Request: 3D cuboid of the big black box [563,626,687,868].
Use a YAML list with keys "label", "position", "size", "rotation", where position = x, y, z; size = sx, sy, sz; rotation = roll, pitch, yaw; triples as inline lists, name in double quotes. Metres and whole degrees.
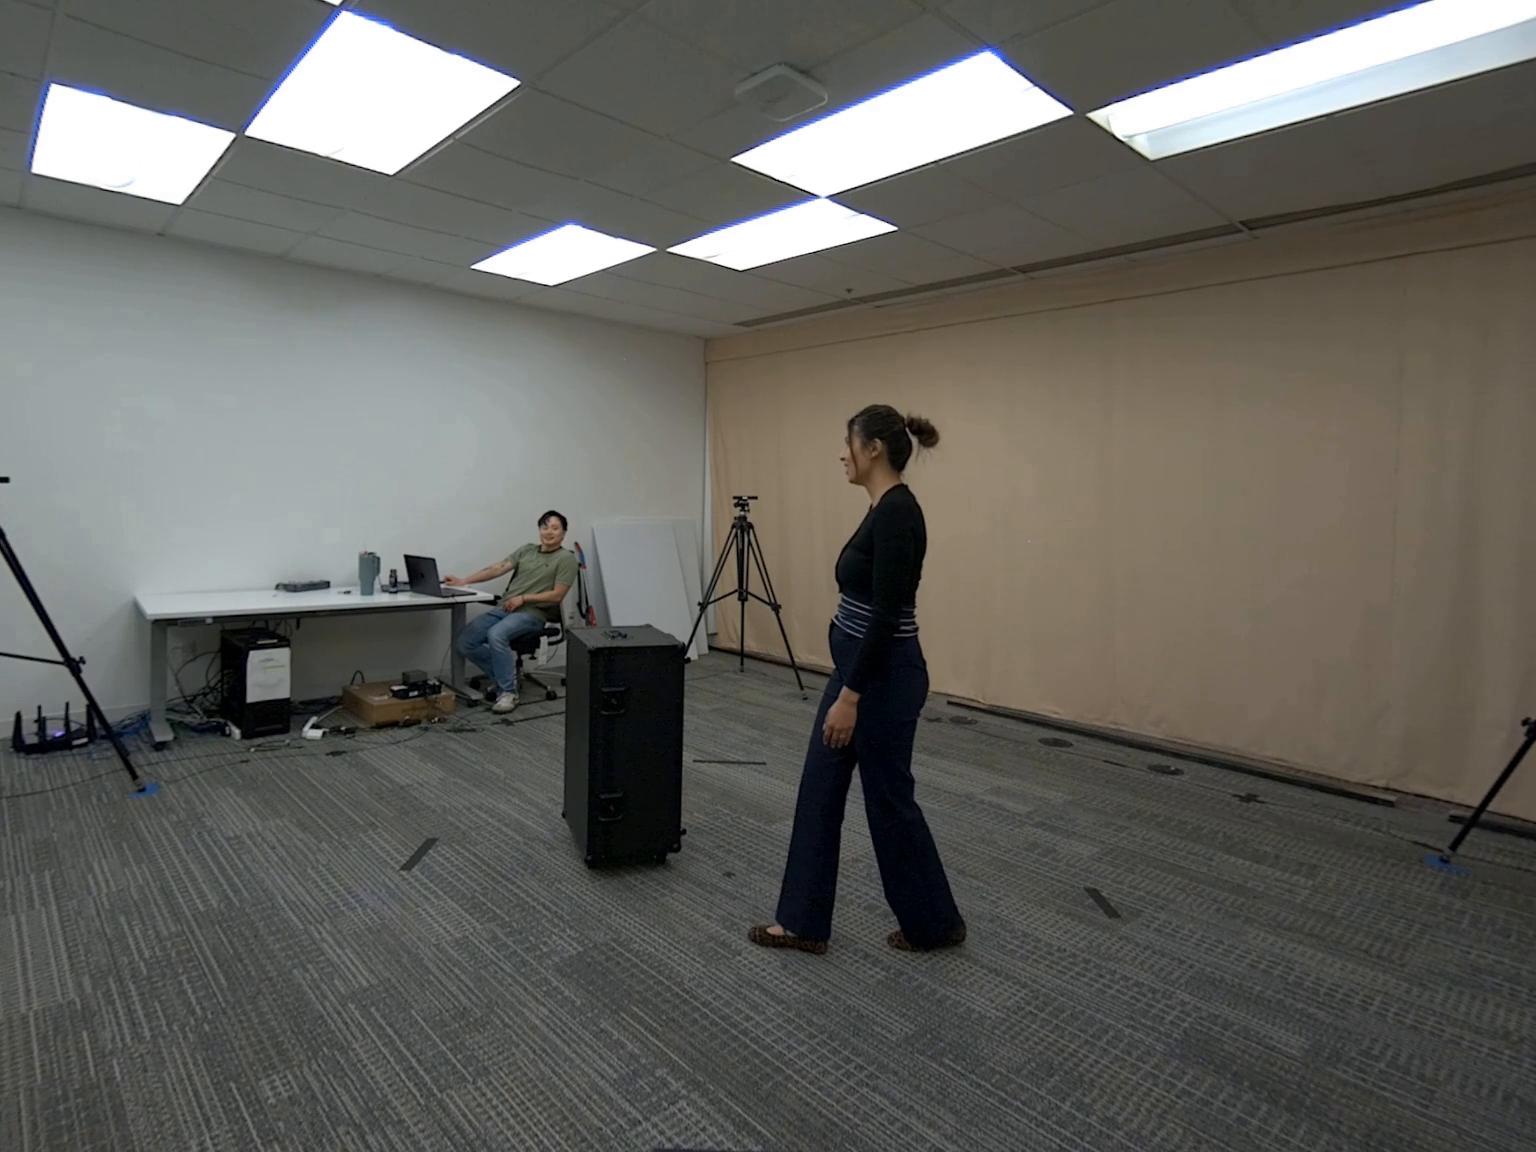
- label: "big black box"
  position: [-0.570, 0.649, 3.277]
  size: [0.389, 0.860, 0.531]
  rotation: [1, 3, -23]
